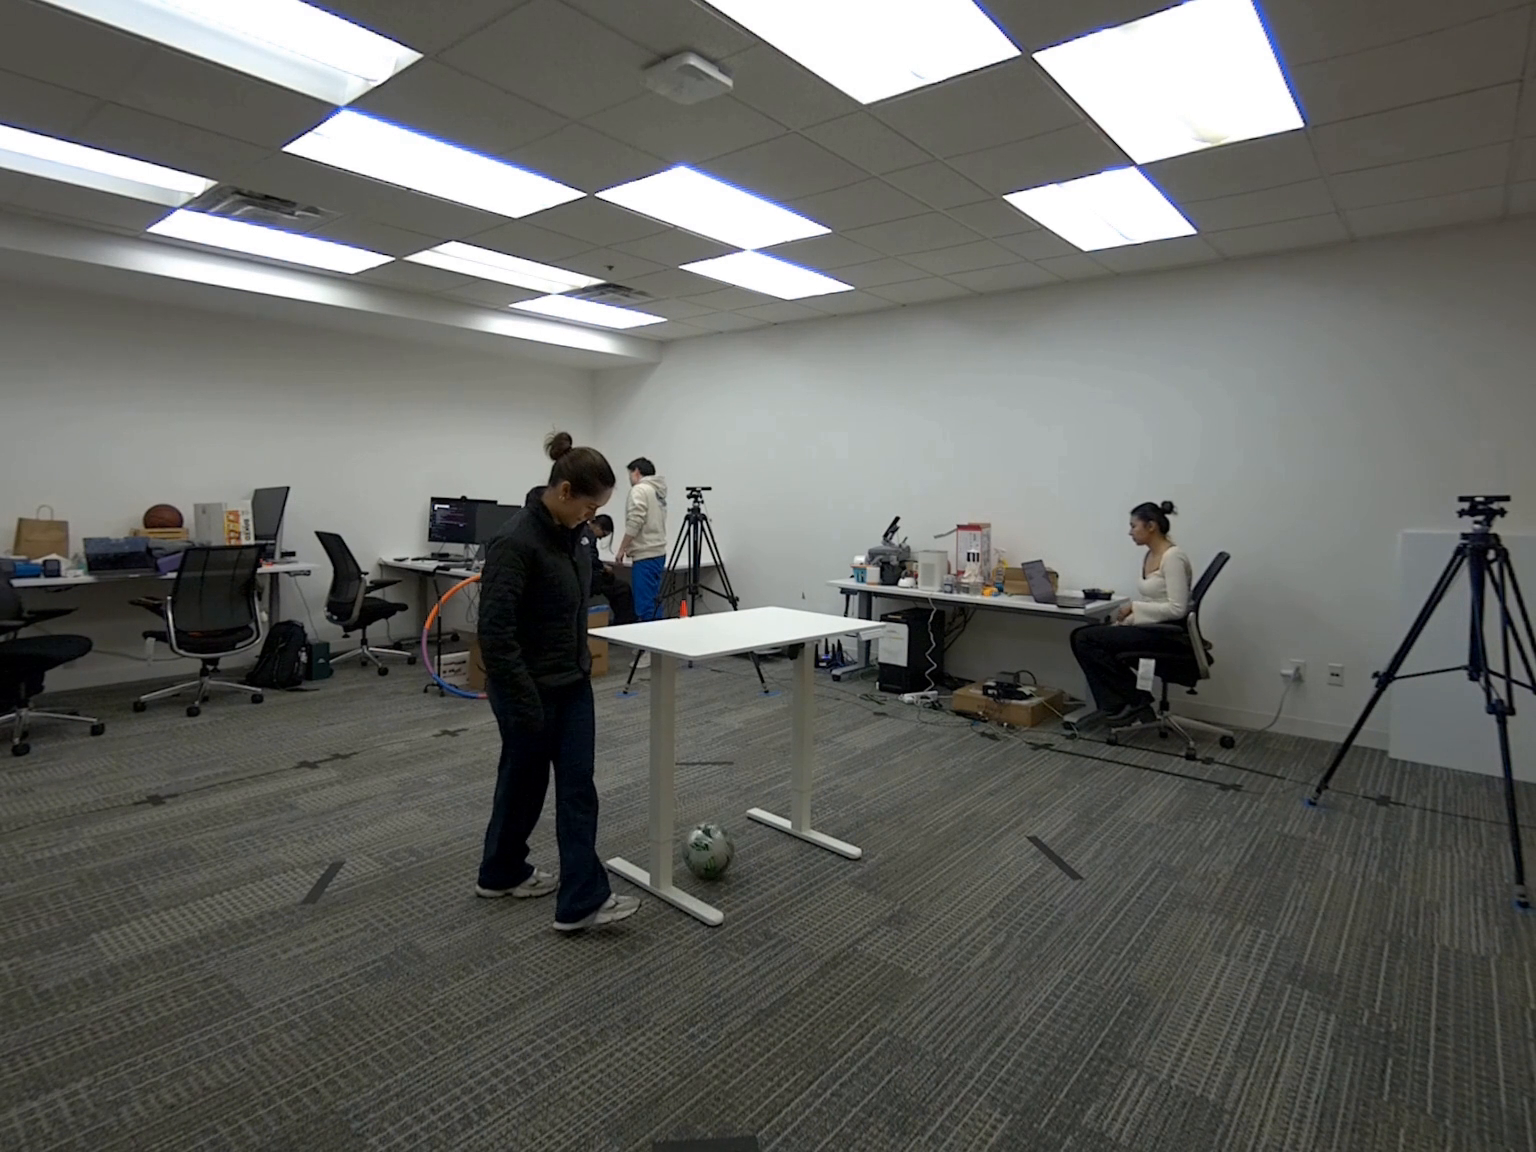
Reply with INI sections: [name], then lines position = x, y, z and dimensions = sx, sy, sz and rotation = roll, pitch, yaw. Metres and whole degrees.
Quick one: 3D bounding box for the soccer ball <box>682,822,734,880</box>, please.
[soccer ball]
position = -0.220, 0.977, 3.044
dimensions = 0.187, 0.187, 0.188
rotation = 1, 4, -2
